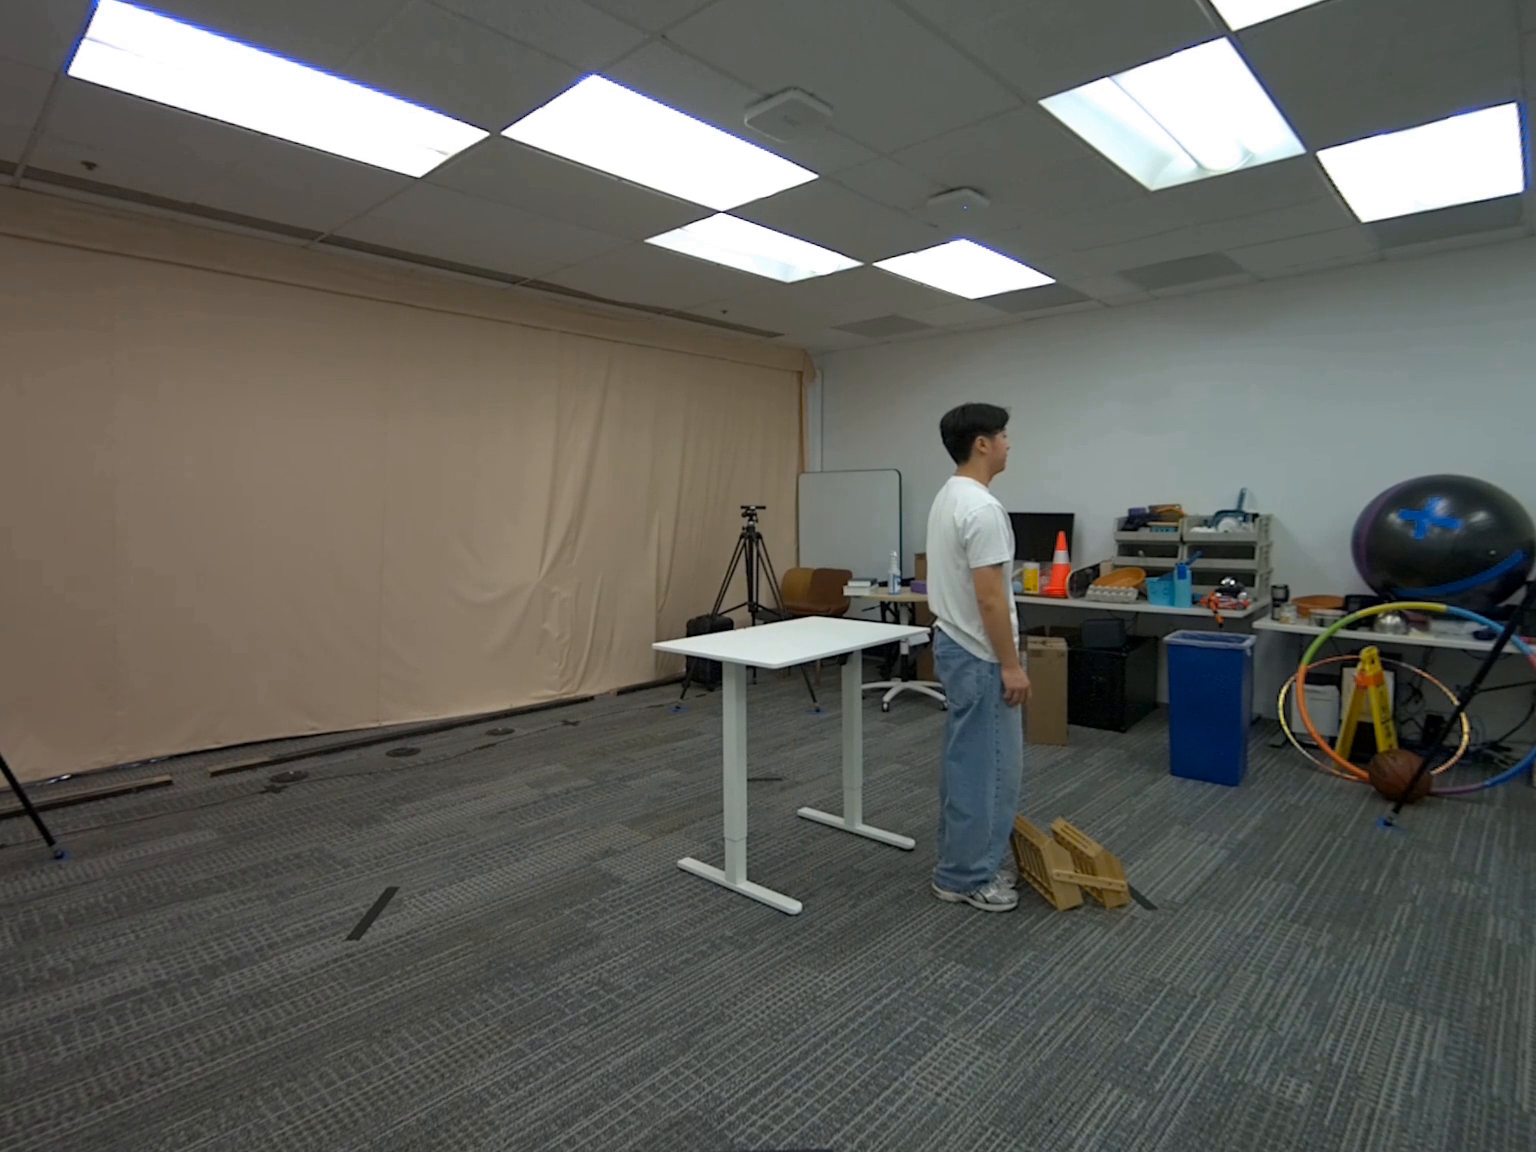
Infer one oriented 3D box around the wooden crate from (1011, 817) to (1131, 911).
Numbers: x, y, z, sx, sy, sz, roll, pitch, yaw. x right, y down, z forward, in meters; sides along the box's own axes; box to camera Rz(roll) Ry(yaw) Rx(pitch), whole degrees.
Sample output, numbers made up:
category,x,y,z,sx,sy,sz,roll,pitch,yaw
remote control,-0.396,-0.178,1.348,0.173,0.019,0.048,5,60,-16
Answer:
category,x,y,z,sx,sy,sz,roll,pitch,yaw
wooden crate,1.085,1.010,3.029,0.272,0.300,0.328,-17,6,-7
